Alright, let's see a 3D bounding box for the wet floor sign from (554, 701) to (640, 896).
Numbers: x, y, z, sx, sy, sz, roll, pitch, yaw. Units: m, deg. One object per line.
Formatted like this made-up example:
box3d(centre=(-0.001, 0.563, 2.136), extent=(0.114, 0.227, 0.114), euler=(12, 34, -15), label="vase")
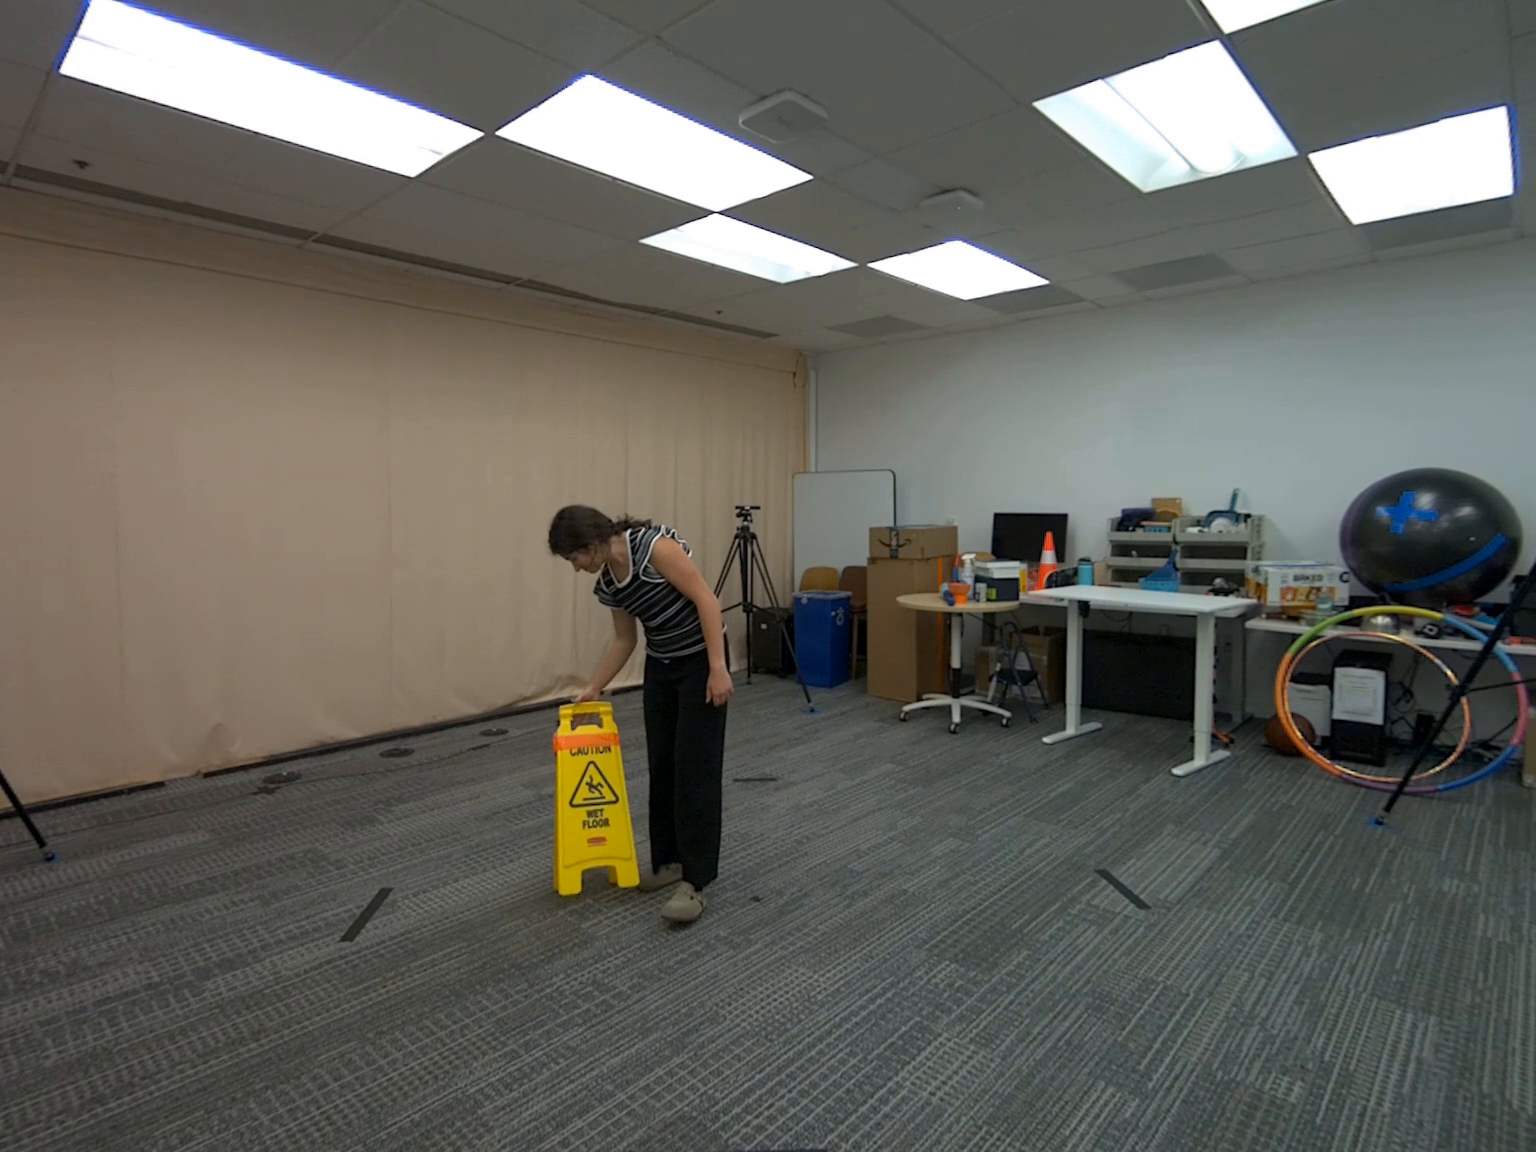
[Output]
box3d(centre=(-0.655, 0.803, 3.098), extent=(0.278, 0.653, 0.291), euler=(-1, -16, -16), label="wet floor sign")
